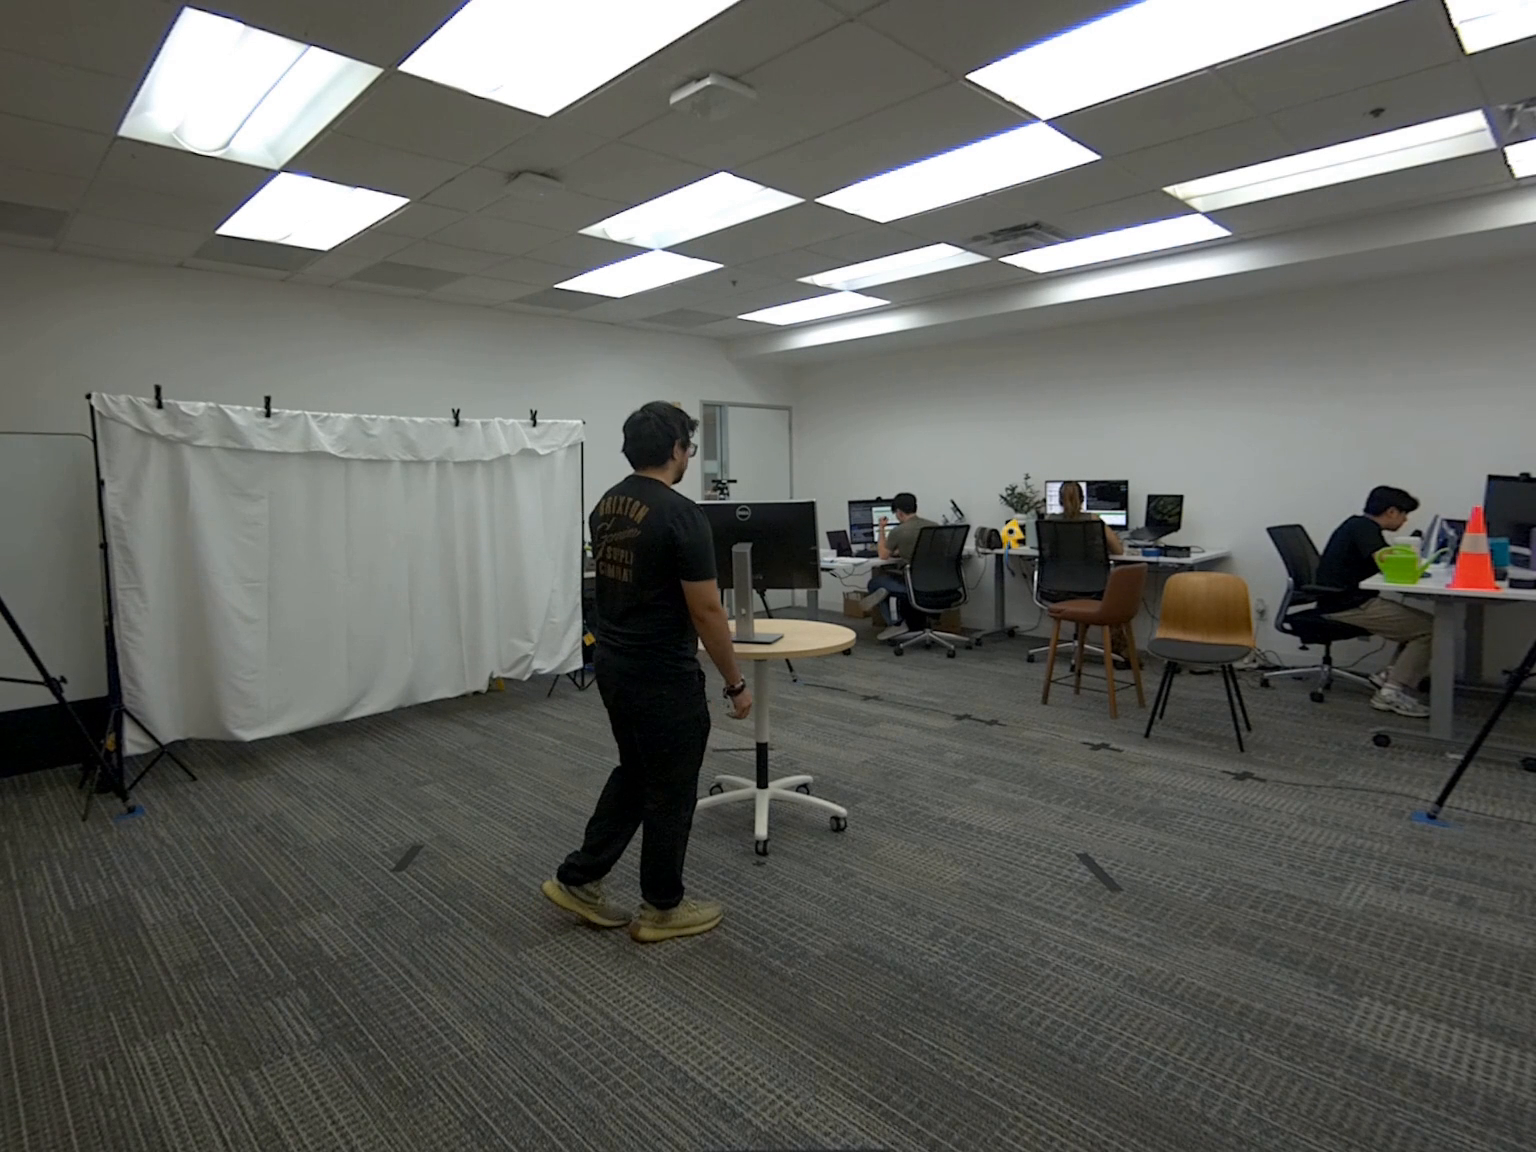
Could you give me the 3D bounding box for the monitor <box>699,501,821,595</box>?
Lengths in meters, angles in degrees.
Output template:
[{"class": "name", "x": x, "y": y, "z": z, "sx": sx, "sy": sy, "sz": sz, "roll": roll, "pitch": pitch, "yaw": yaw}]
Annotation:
[{"class": "monitor", "x": -0.092, "y": -0.015, "z": 3.312, "sx": 0.574, "sy": 0.549, "sz": 0.209, "roll": 1, "pitch": 10, "yaw": 16}]
